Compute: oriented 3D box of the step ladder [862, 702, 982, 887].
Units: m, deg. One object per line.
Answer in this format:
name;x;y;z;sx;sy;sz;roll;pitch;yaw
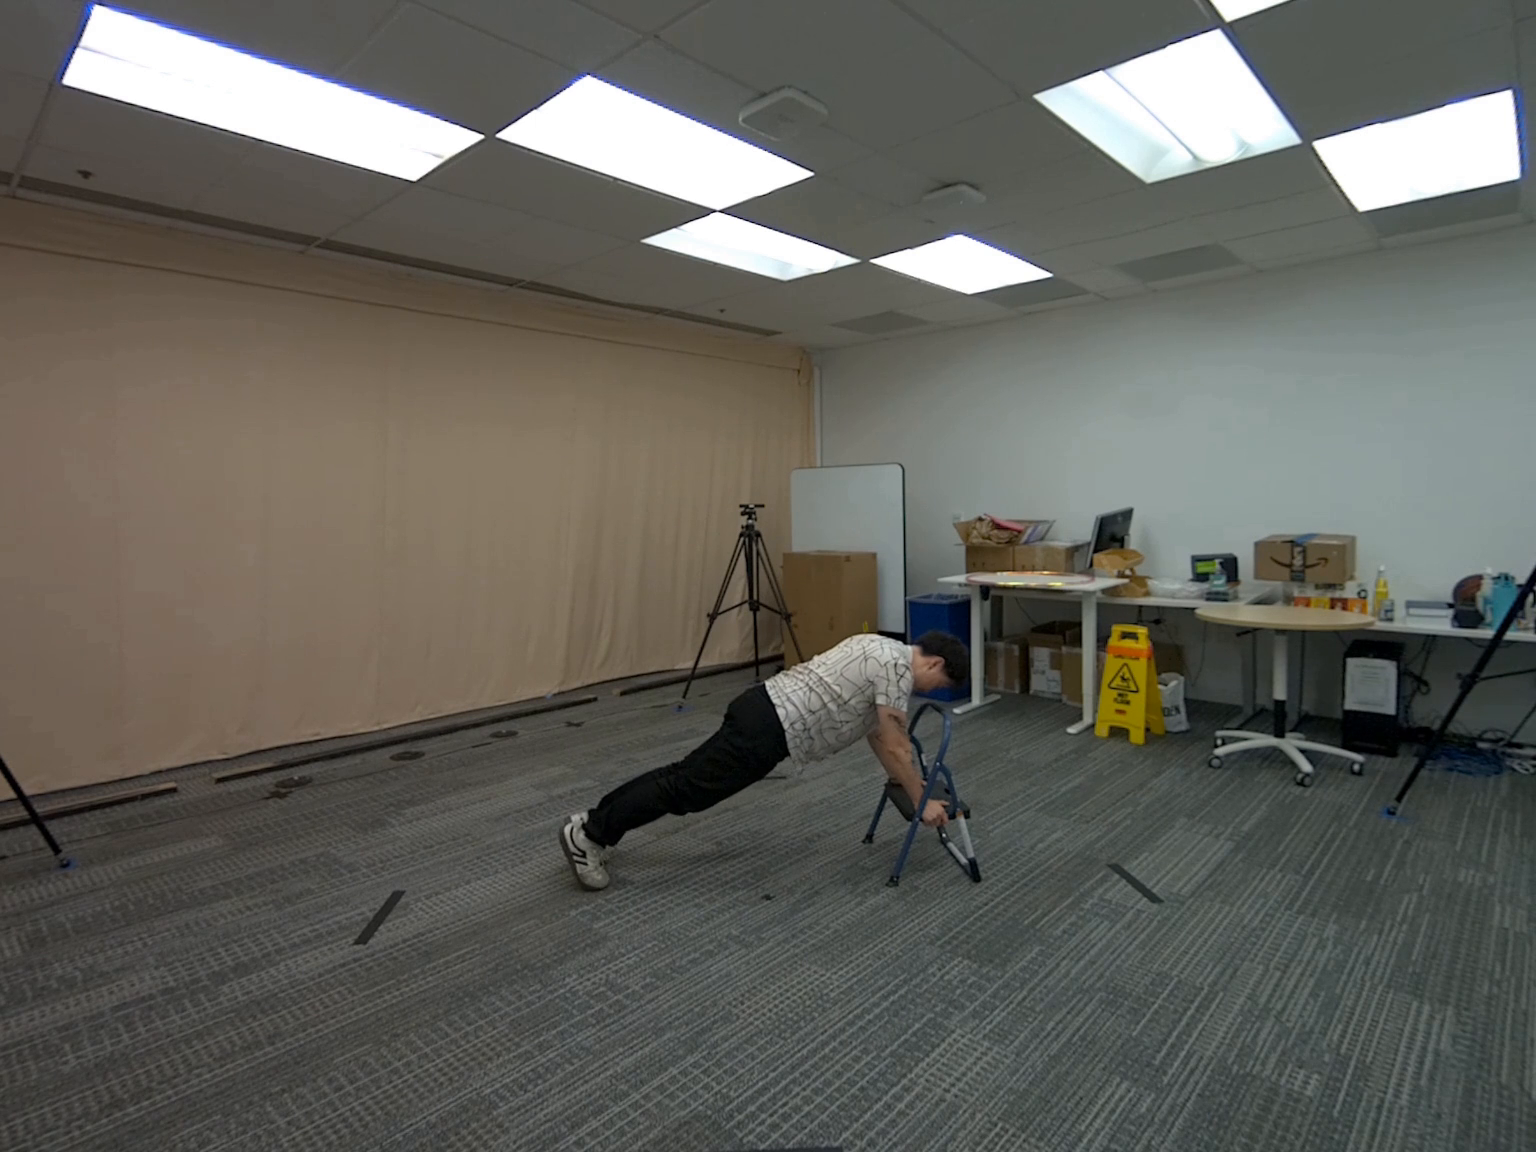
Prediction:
step ladder;0.586;0.807;3.250;0.348;0.605;0.434;-2;4;-5
